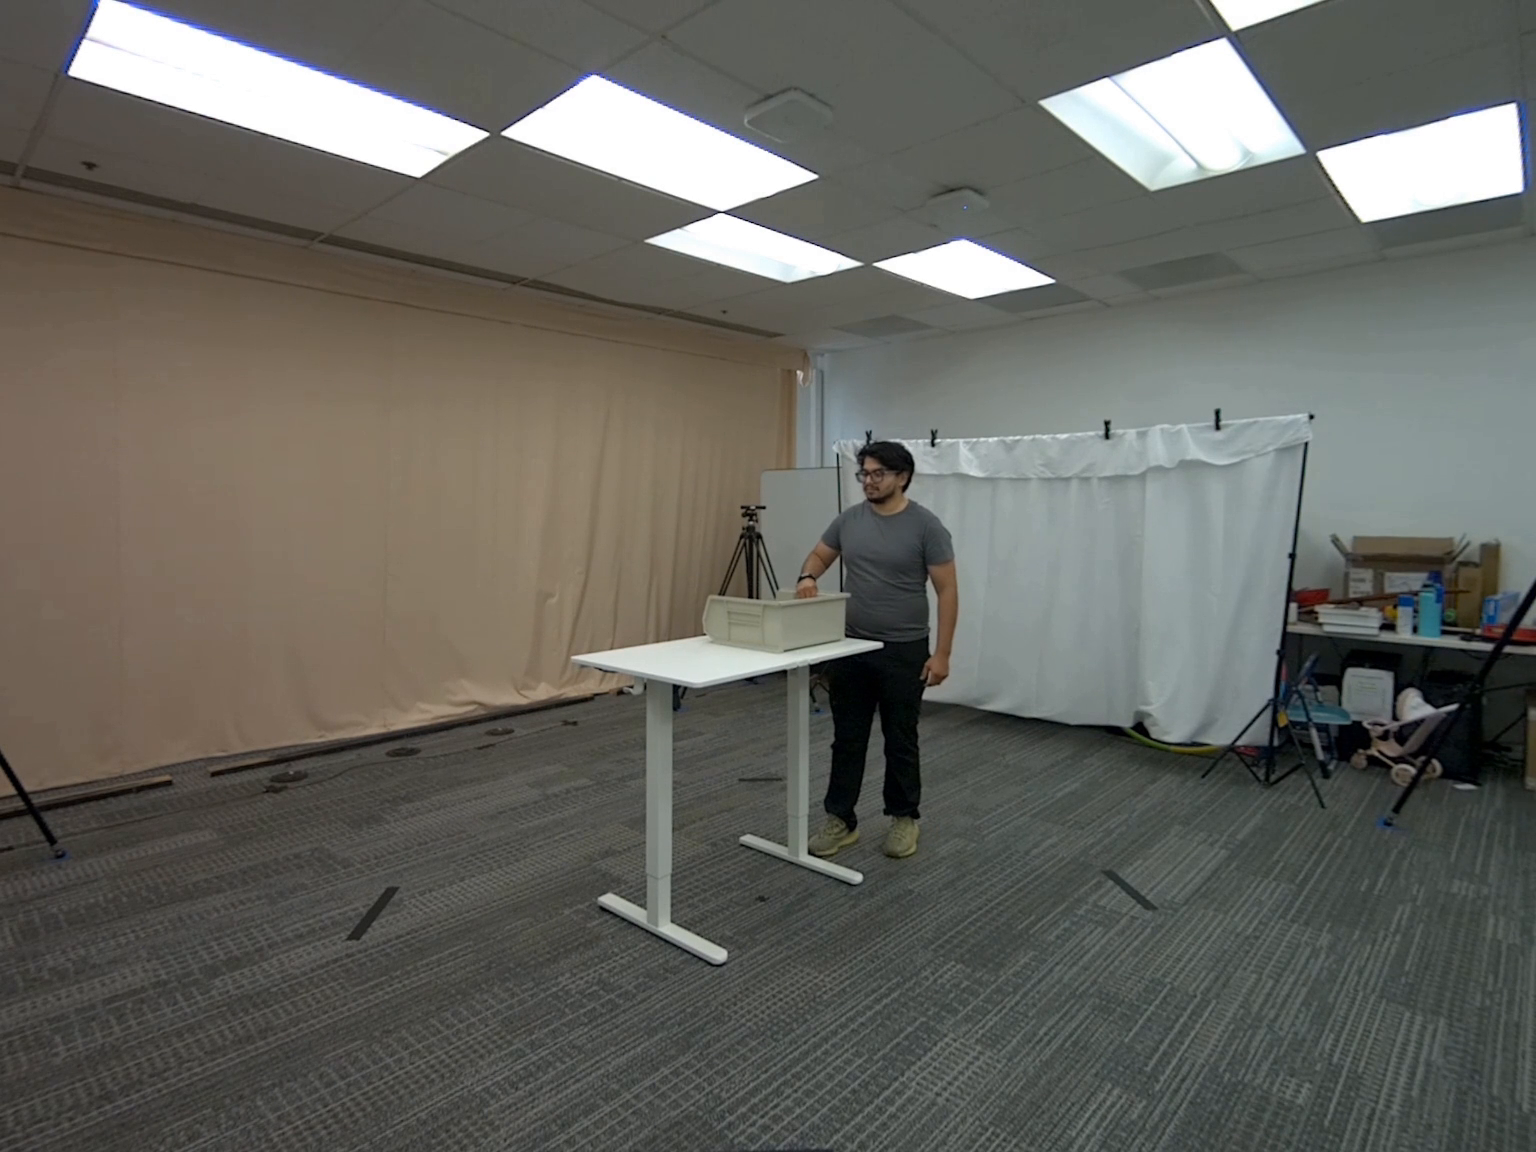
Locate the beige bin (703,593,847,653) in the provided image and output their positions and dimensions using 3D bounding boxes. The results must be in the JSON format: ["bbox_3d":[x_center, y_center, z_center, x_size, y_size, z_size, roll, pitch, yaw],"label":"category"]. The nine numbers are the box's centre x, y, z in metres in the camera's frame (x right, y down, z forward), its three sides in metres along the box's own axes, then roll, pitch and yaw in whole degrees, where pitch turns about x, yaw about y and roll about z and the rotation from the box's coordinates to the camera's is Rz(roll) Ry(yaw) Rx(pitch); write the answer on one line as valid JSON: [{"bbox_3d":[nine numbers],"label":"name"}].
[{"bbox_3d":[0.031,0.159,3.163,0.390,0.188,0.409,6,7,41],"label":"beige bin"}]
